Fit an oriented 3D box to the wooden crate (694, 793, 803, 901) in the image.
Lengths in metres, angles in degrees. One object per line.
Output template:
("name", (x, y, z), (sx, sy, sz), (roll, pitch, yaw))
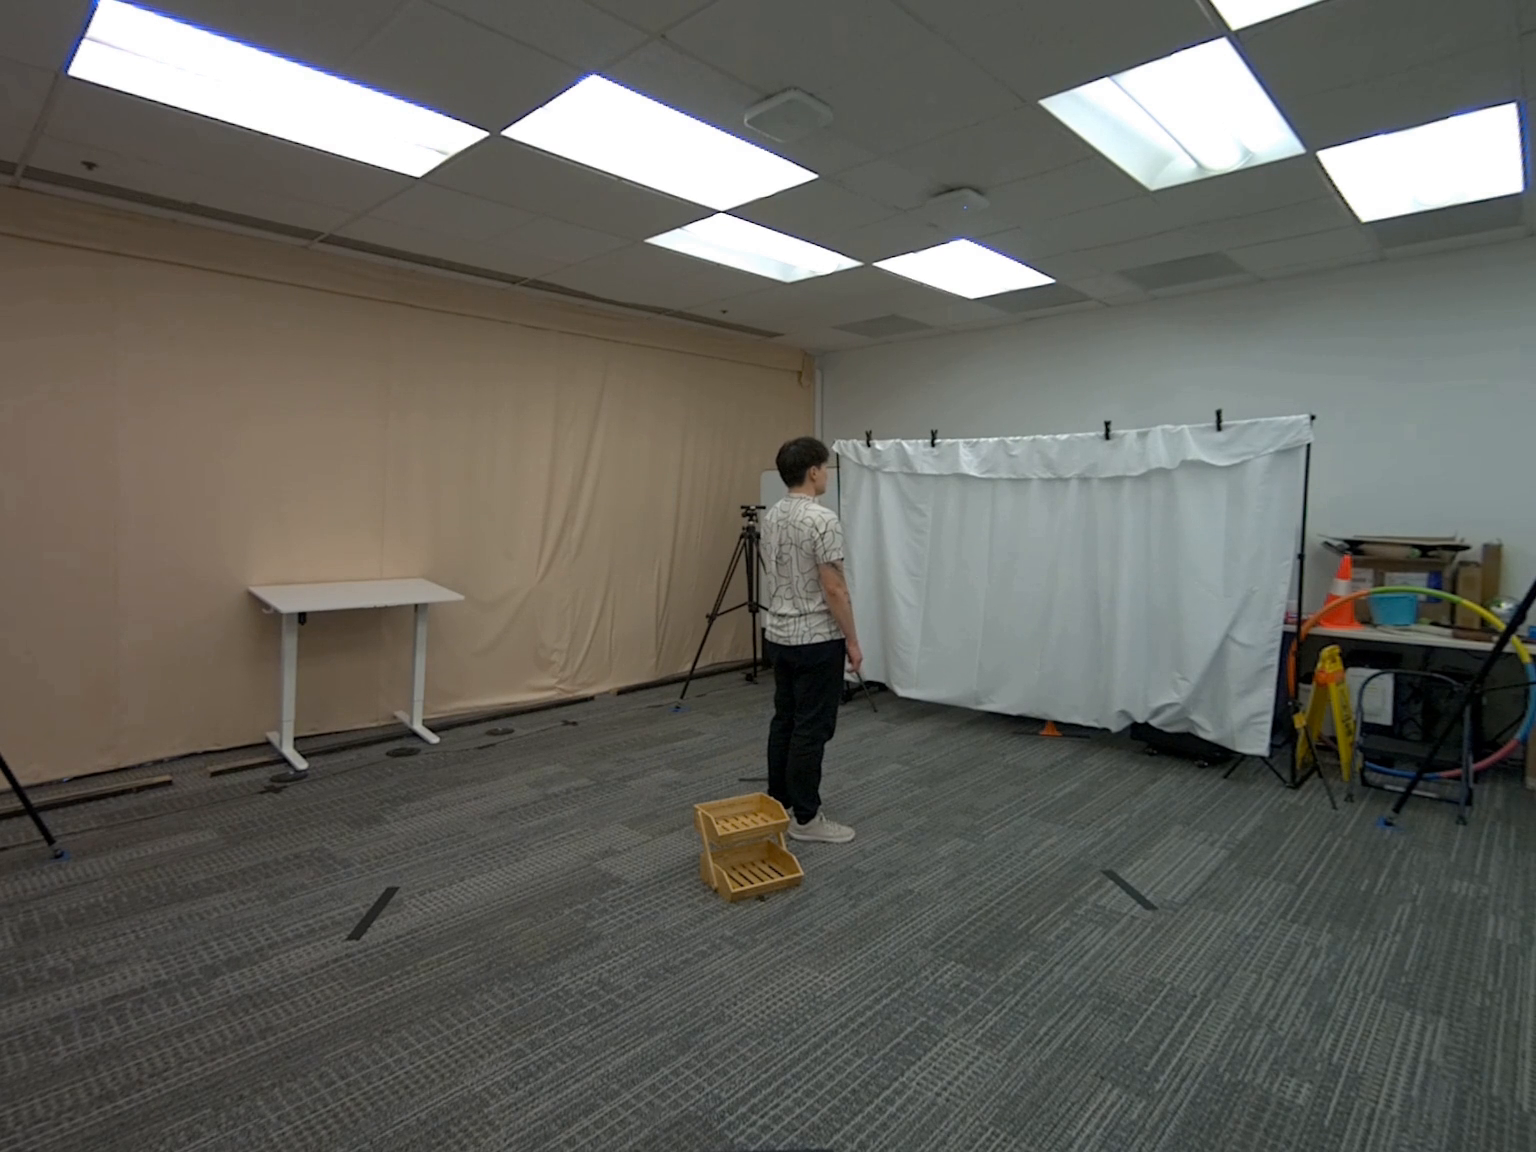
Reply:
("wooden crate", (-0.074, 0.997, 3.125), (0.316, 0.273, 0.310), (-2, 4, -29))
